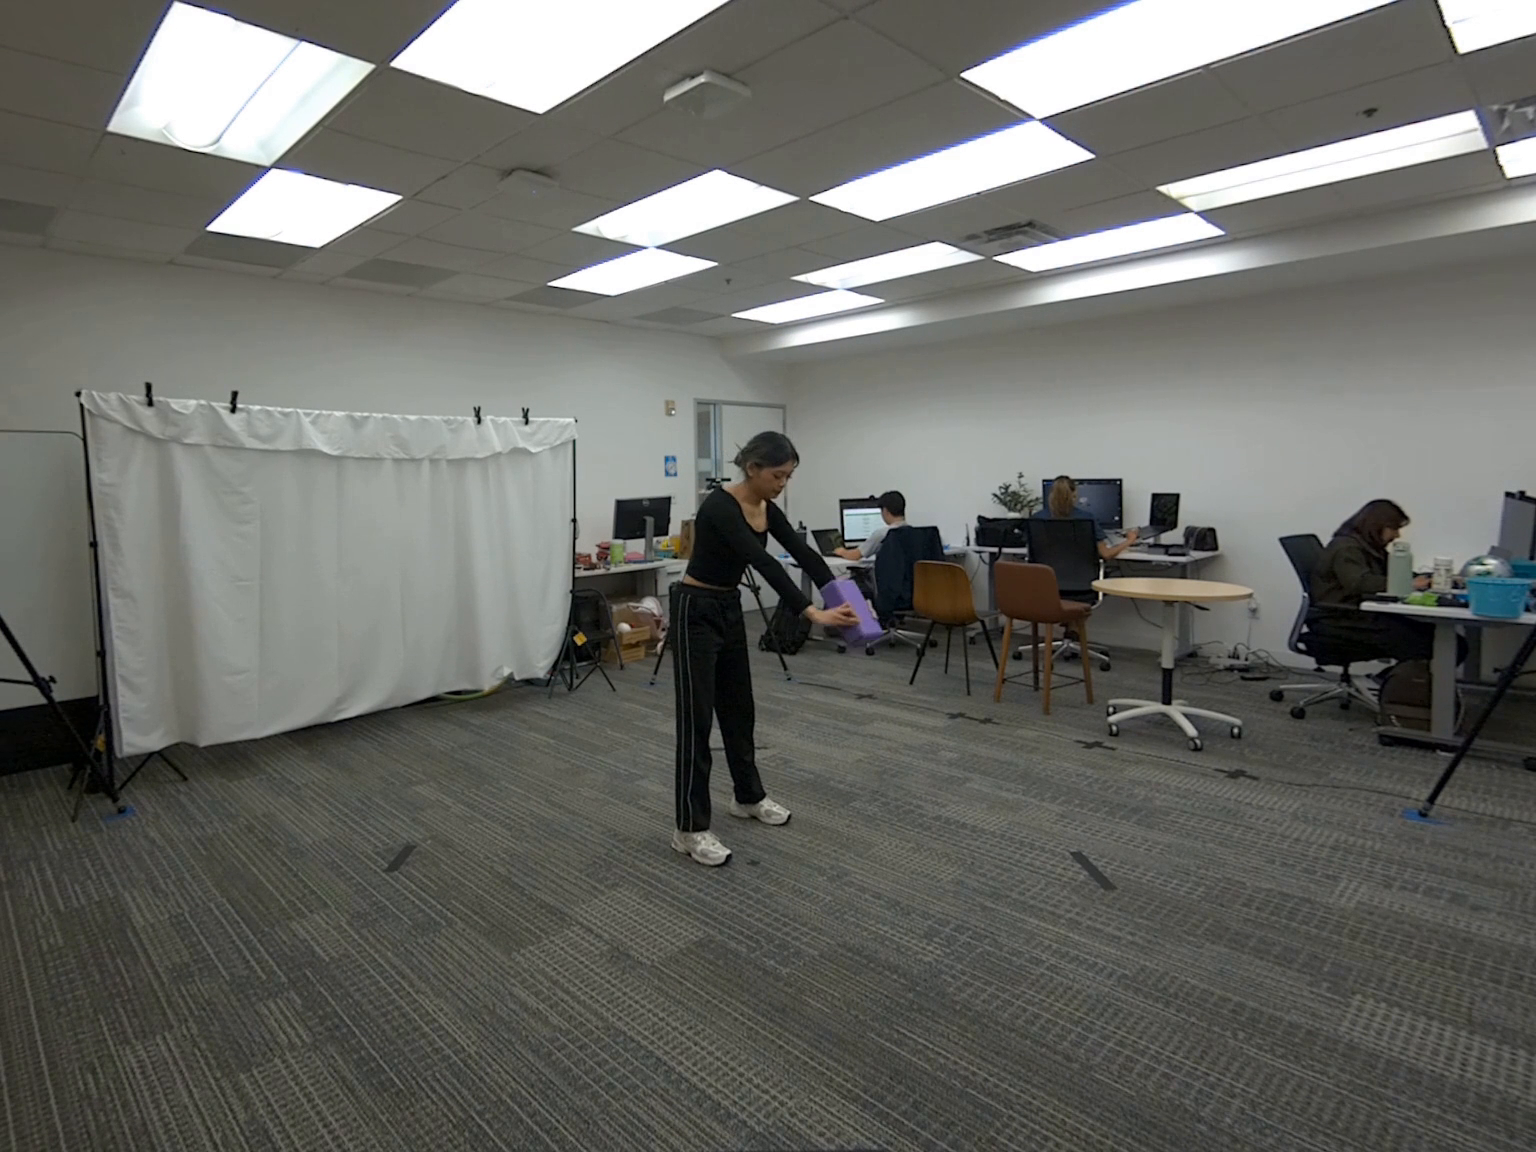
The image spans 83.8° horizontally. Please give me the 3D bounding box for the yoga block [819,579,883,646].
[{"bbox_3d":[0.281,0.125,3.021,0.077,0.235,0.145,-40,-24,29],"label":"yoga block"}]
